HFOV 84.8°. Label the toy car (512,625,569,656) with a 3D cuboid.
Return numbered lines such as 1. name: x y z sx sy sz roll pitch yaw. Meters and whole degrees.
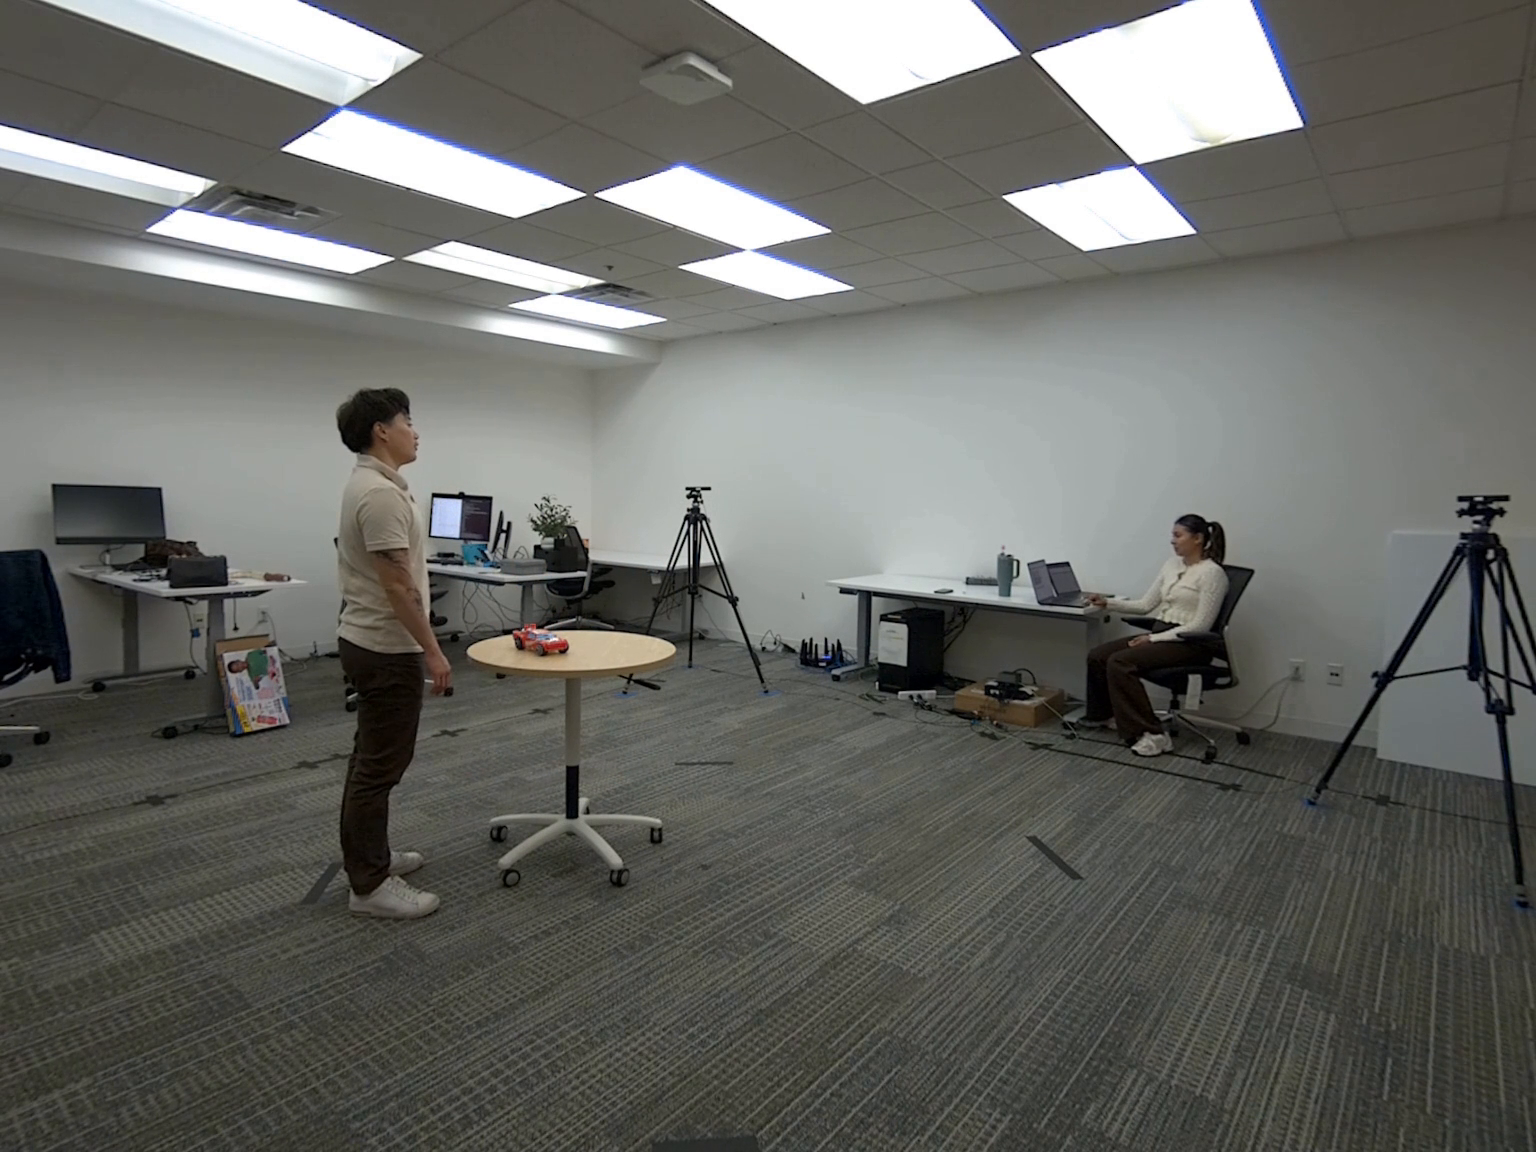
1. toy car: -0.865 0.244 3.125 0.126 0.082 0.265 -4 18 -45
